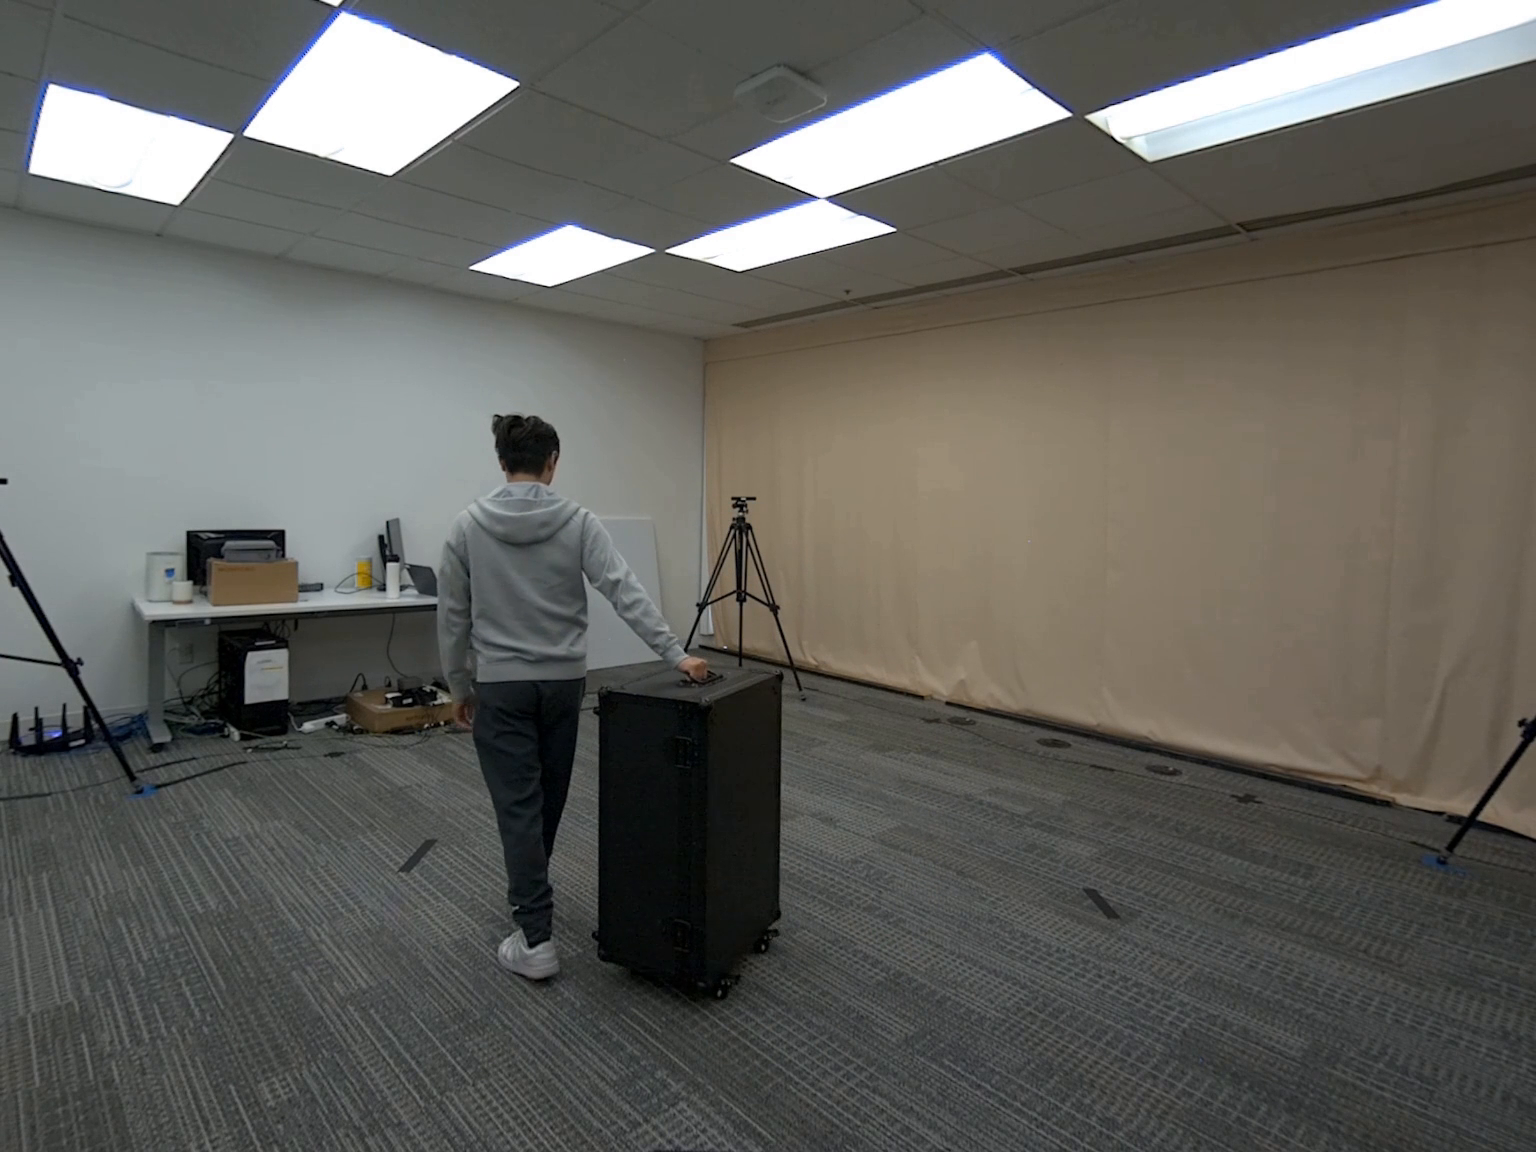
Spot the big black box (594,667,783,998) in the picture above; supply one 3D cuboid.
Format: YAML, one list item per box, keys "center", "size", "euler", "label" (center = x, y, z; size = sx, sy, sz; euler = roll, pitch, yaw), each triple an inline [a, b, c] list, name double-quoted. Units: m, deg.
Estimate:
- center: [-0.239, 0.736, 2.515]
  size: [0.404, 0.859, 0.512]
  euler: [1, 4, 27]
  label: "big black box"
